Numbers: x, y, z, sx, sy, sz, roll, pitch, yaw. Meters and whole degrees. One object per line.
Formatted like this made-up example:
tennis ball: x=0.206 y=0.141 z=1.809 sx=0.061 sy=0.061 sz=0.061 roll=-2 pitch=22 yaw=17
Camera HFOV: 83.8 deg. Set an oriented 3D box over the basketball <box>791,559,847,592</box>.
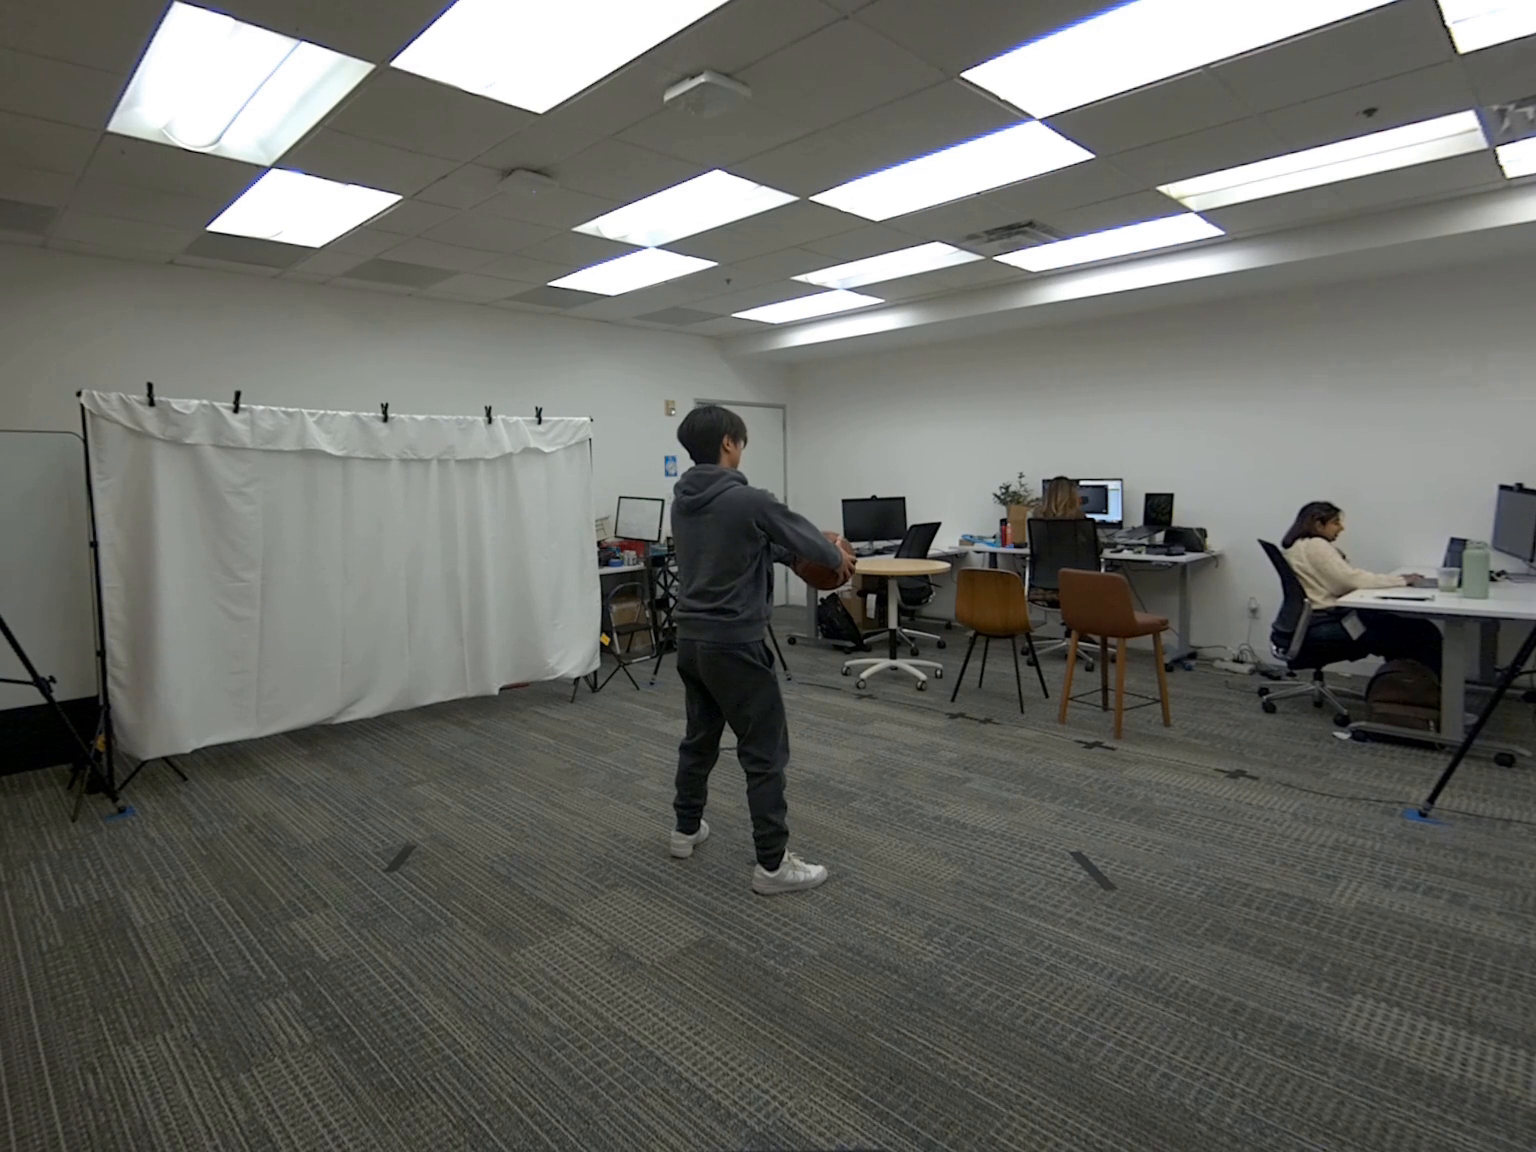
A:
basketball: x=0.233 y=-0.050 z=3.411 sx=0.236 sy=0.235 sz=0.237 roll=-1 pitch=5 yaw=-2
